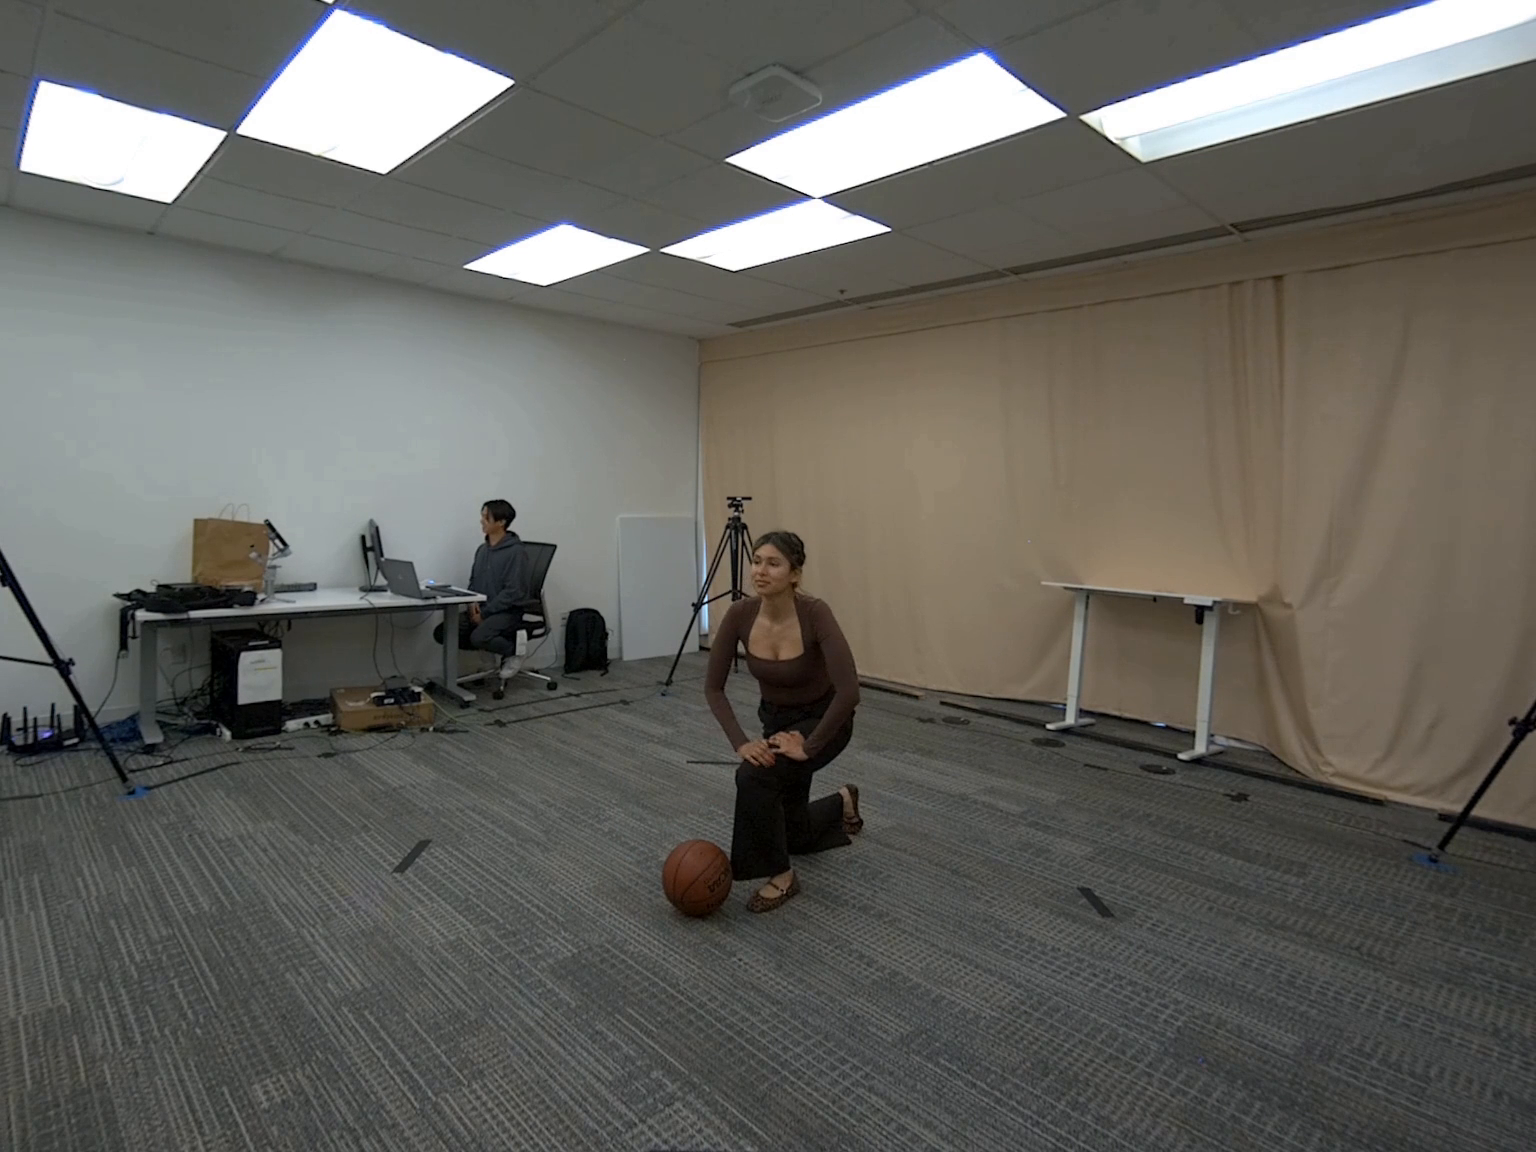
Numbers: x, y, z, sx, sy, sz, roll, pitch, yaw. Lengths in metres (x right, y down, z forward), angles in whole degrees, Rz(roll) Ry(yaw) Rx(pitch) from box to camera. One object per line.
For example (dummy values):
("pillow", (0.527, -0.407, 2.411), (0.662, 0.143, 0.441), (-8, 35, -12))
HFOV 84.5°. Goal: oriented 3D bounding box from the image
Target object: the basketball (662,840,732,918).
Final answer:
("basketball", (-0.244, 1.008, 2.821), (0.236, 0.235, 0.237), (1, 4, -1))
